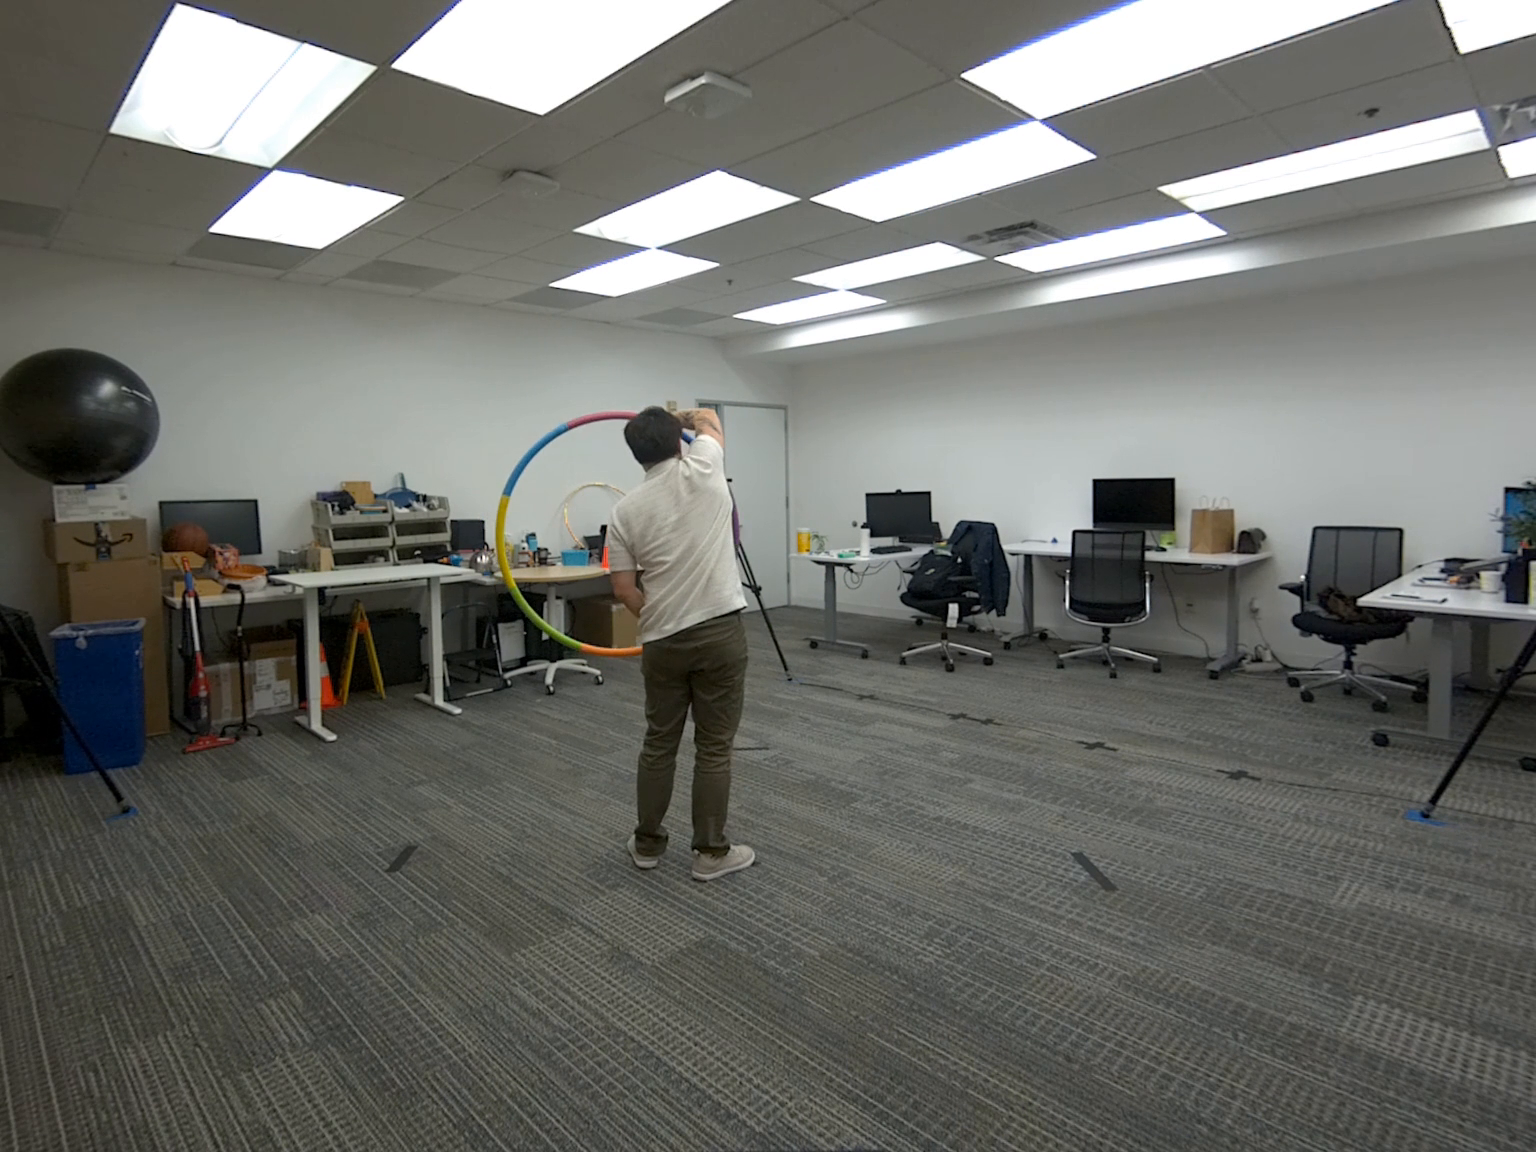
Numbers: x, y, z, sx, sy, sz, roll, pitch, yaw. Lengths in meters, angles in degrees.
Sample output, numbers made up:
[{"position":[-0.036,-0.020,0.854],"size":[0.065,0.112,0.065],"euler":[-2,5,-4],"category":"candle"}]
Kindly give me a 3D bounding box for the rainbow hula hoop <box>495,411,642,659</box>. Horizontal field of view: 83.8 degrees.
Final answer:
[{"position":[-0.597,-0.164,3.446],"size":[0.973,0.975,0.036],"euler":[-1,3,-6],"category":"rainbow hula hoop"}]
